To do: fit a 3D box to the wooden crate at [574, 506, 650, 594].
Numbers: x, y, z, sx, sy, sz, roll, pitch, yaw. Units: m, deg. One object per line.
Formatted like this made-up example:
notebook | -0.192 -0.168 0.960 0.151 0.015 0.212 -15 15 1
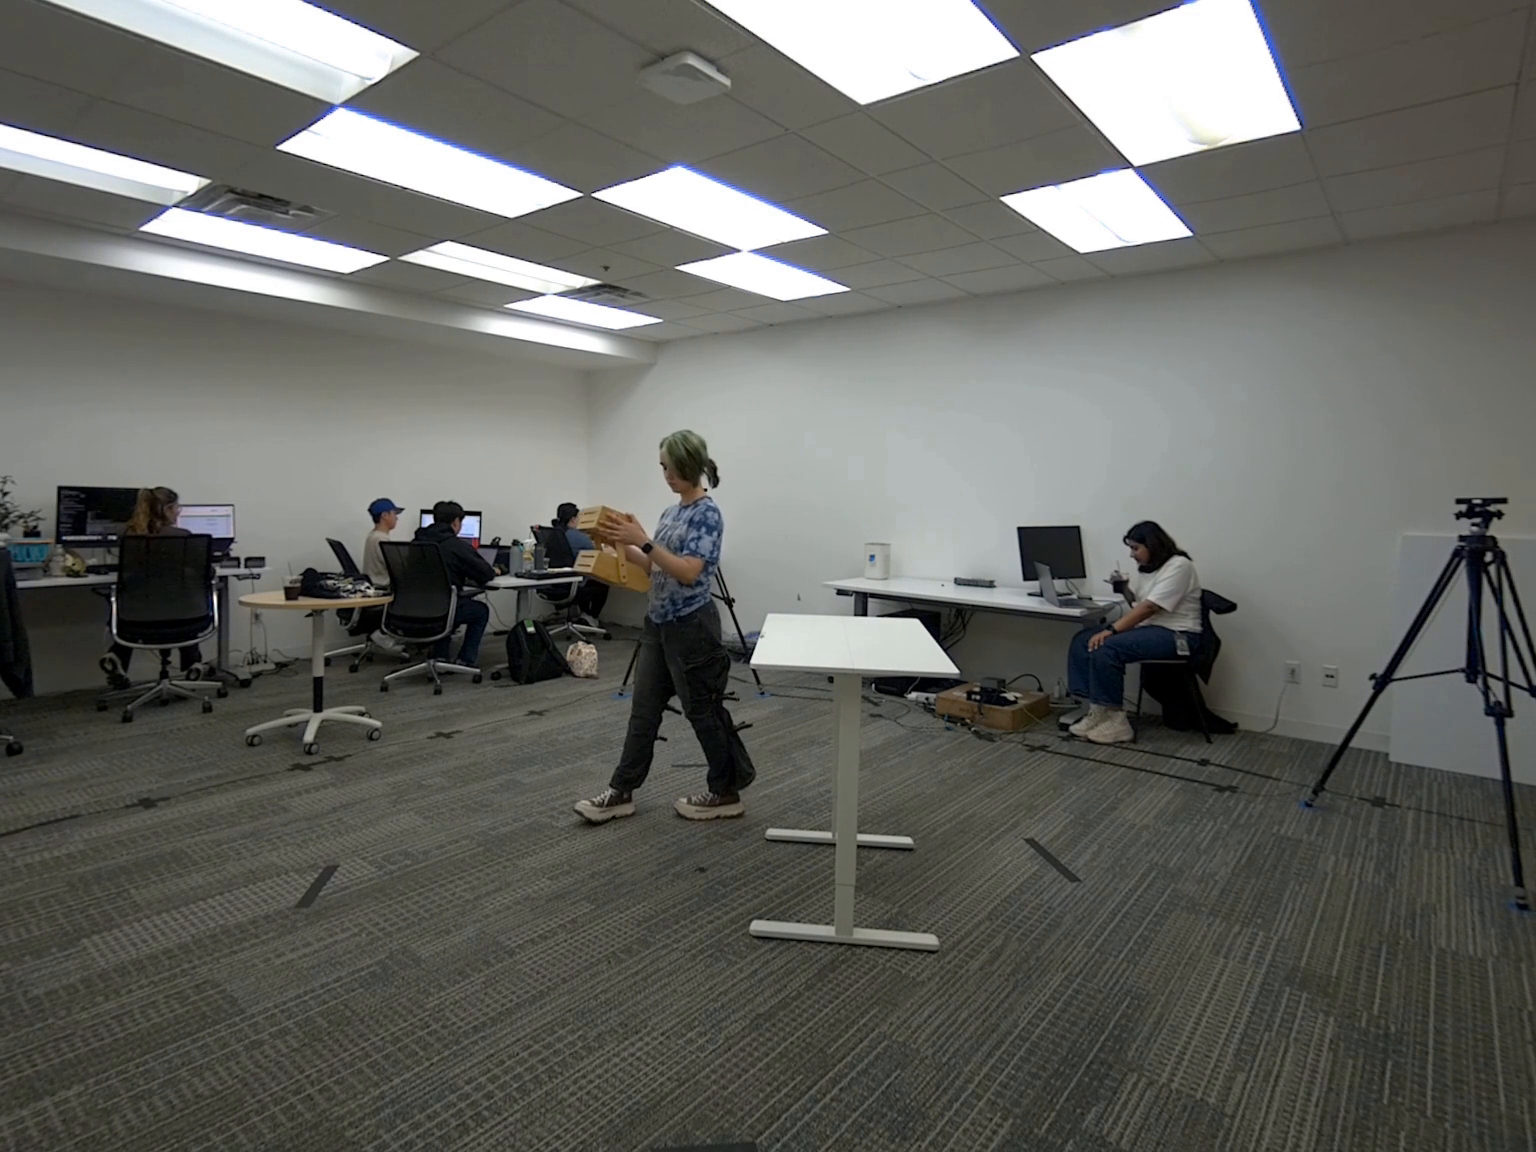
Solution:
wooden crate | -0.640 -0.117 3.465 0.293 0.275 0.333 23 -10 -25
